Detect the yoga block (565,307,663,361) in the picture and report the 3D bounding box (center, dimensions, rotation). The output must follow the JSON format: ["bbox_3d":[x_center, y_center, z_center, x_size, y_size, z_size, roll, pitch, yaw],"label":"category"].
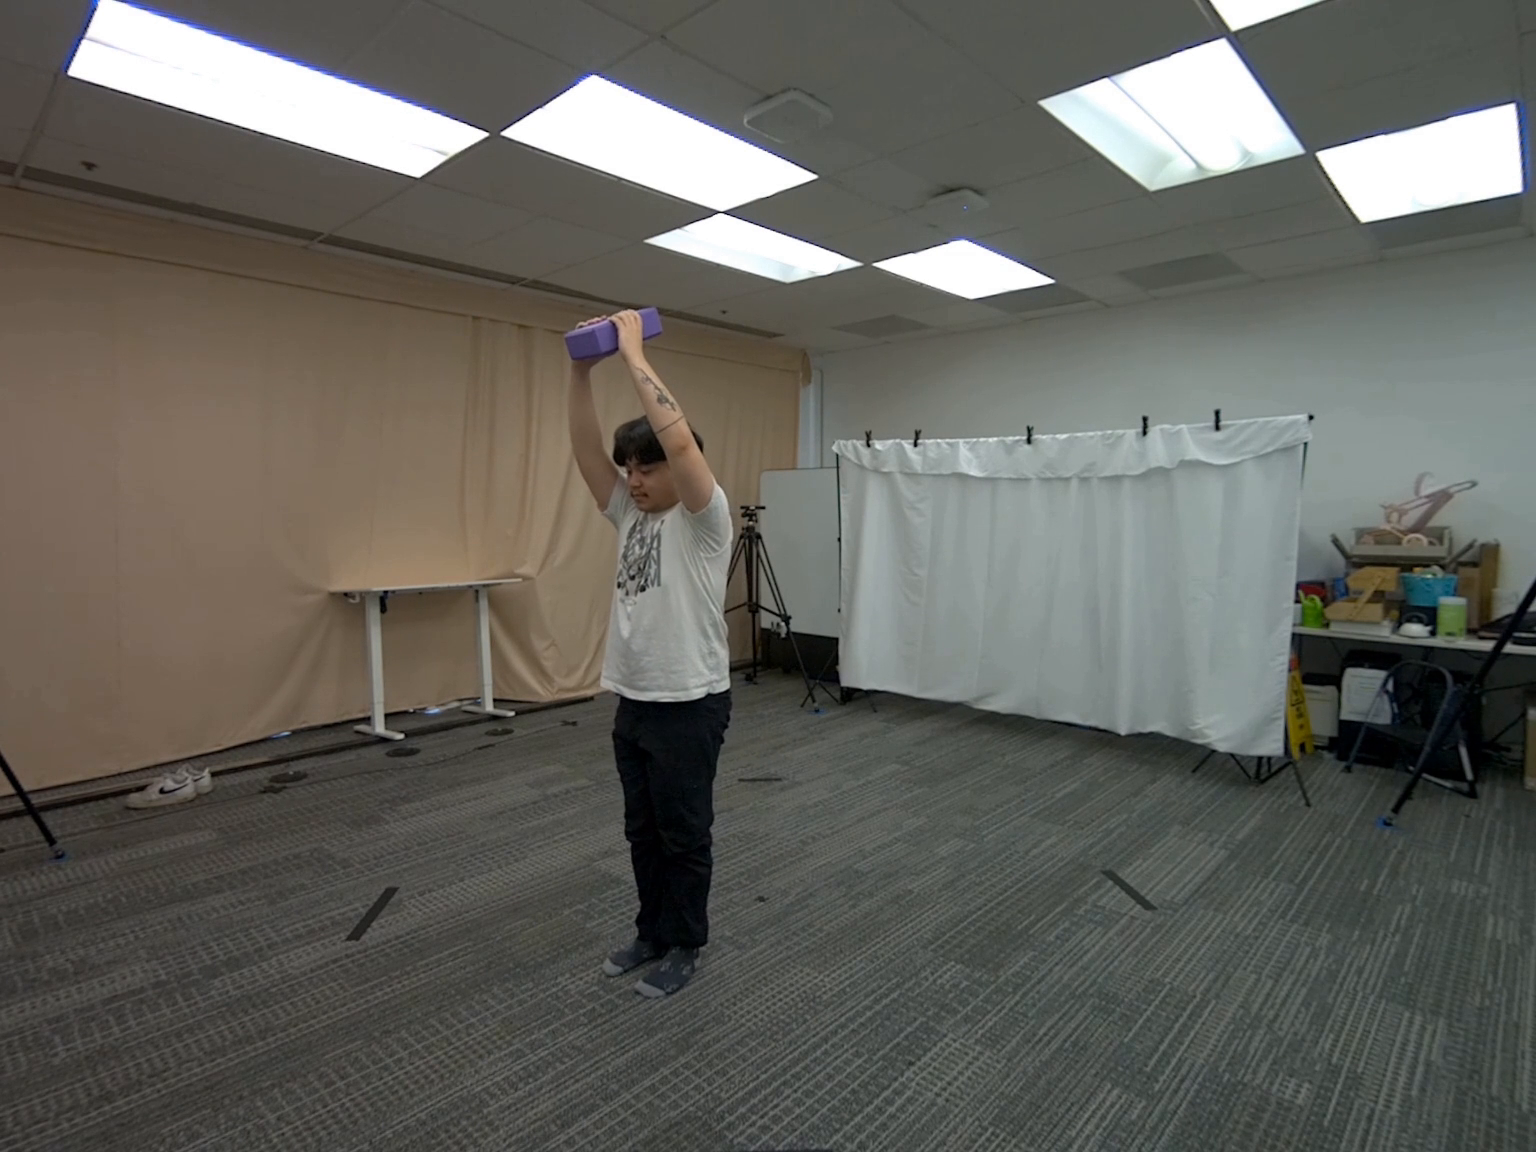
[{"bbox_3d":[-0.420,-0.659,2.294,0.154,0.075,0.225,6,29,45],"label":"yoga block"}]
